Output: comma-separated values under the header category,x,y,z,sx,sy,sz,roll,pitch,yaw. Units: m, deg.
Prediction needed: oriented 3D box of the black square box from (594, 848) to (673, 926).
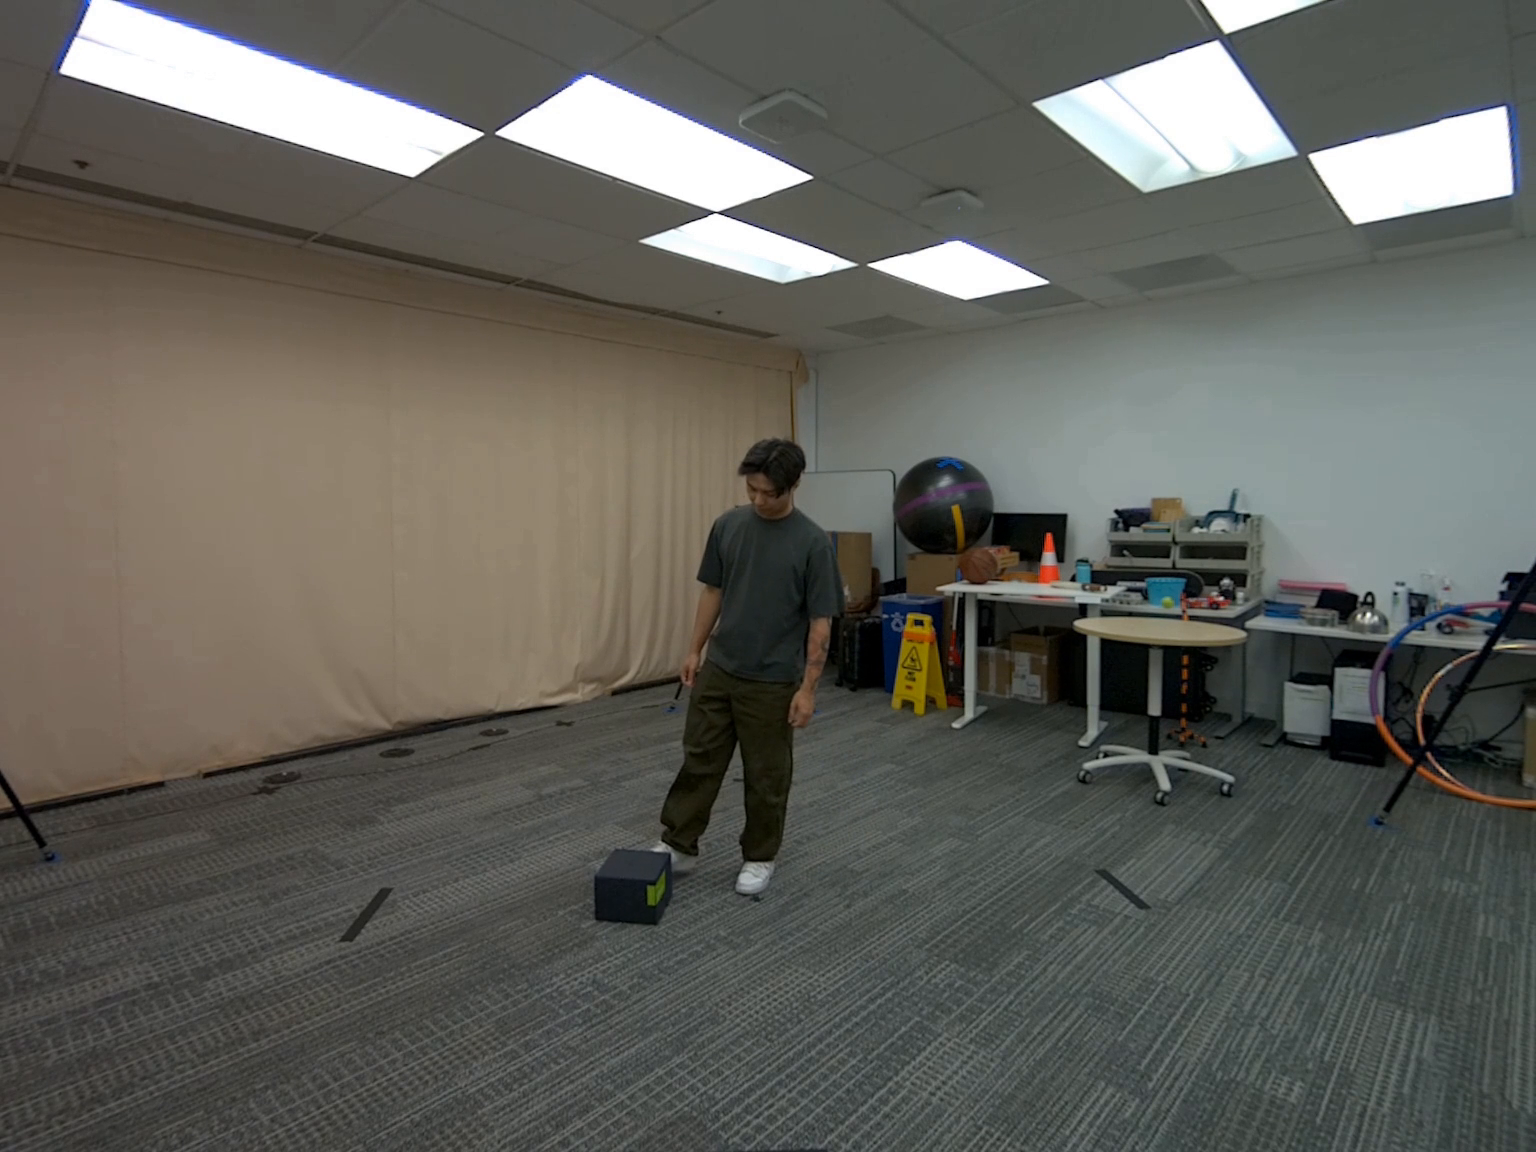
category,x,y,z,sx,sy,sz,roll,pitch,yaw
black square box,-0.461,1.068,2.912,0.219,0.155,0.226,0,4,8
